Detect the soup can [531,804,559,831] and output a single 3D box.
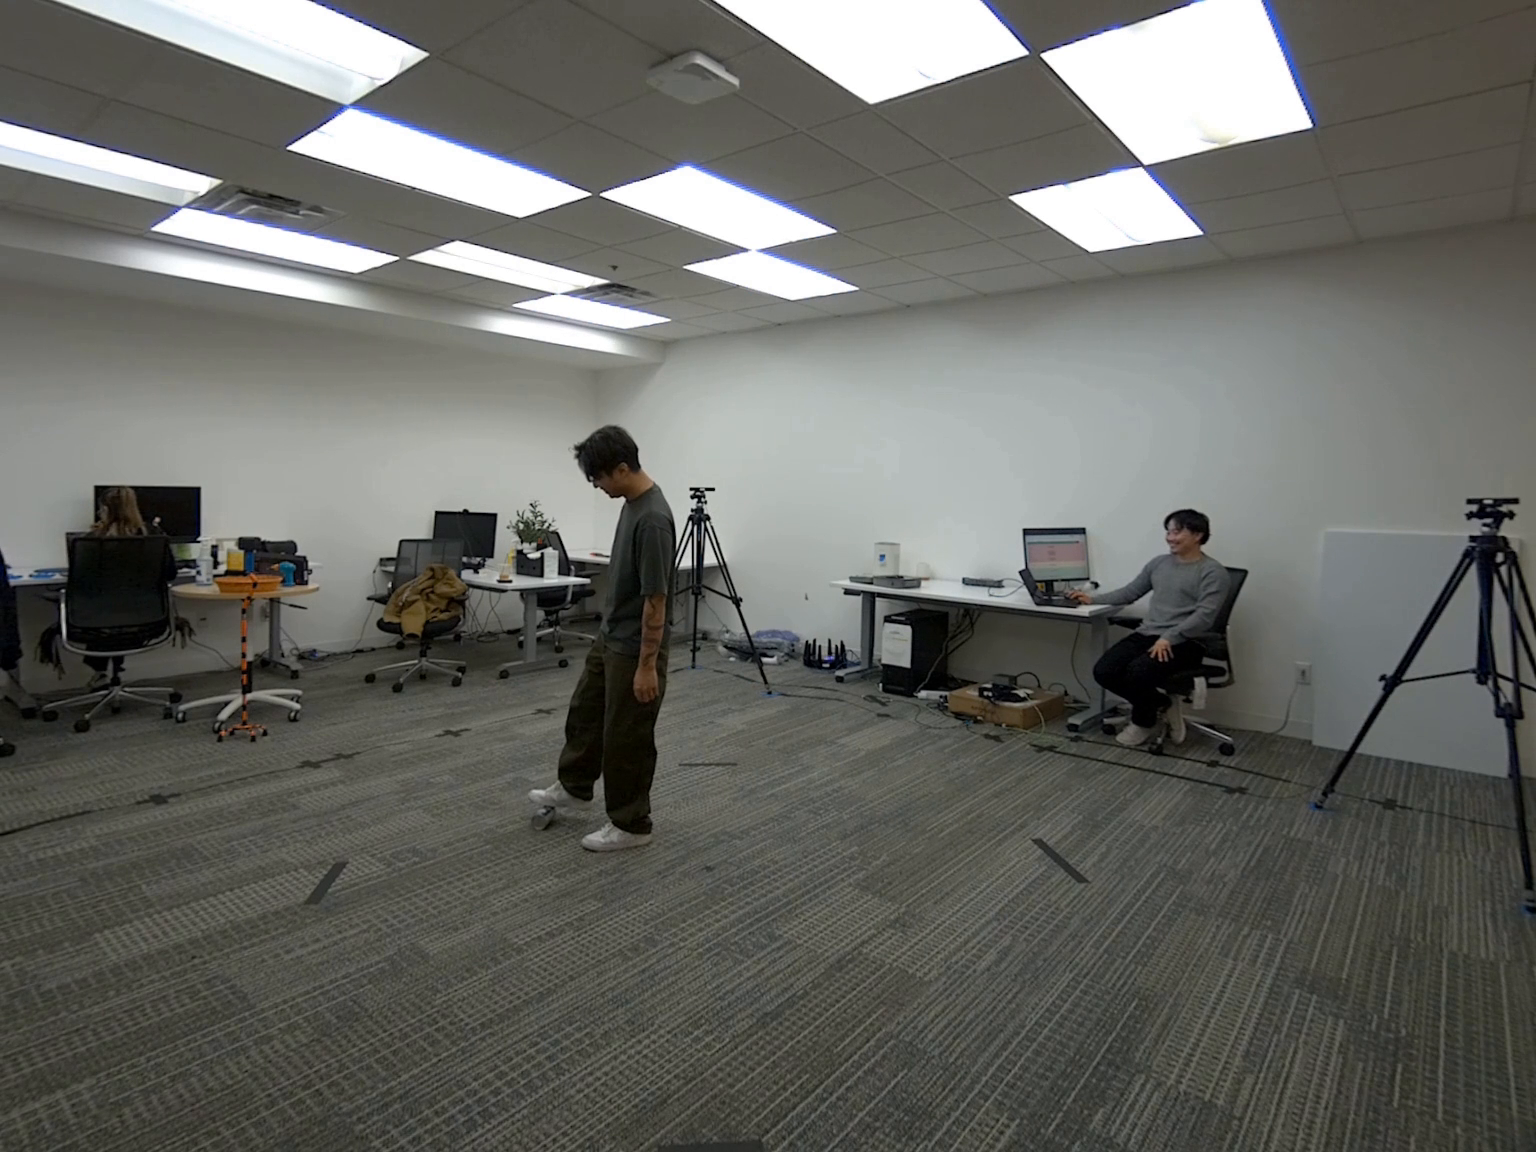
[{"bbox_3d":[-0.934,0.987,3.504,0.068,0.067,0.120,2,8,12],"label":"soup can"}]
